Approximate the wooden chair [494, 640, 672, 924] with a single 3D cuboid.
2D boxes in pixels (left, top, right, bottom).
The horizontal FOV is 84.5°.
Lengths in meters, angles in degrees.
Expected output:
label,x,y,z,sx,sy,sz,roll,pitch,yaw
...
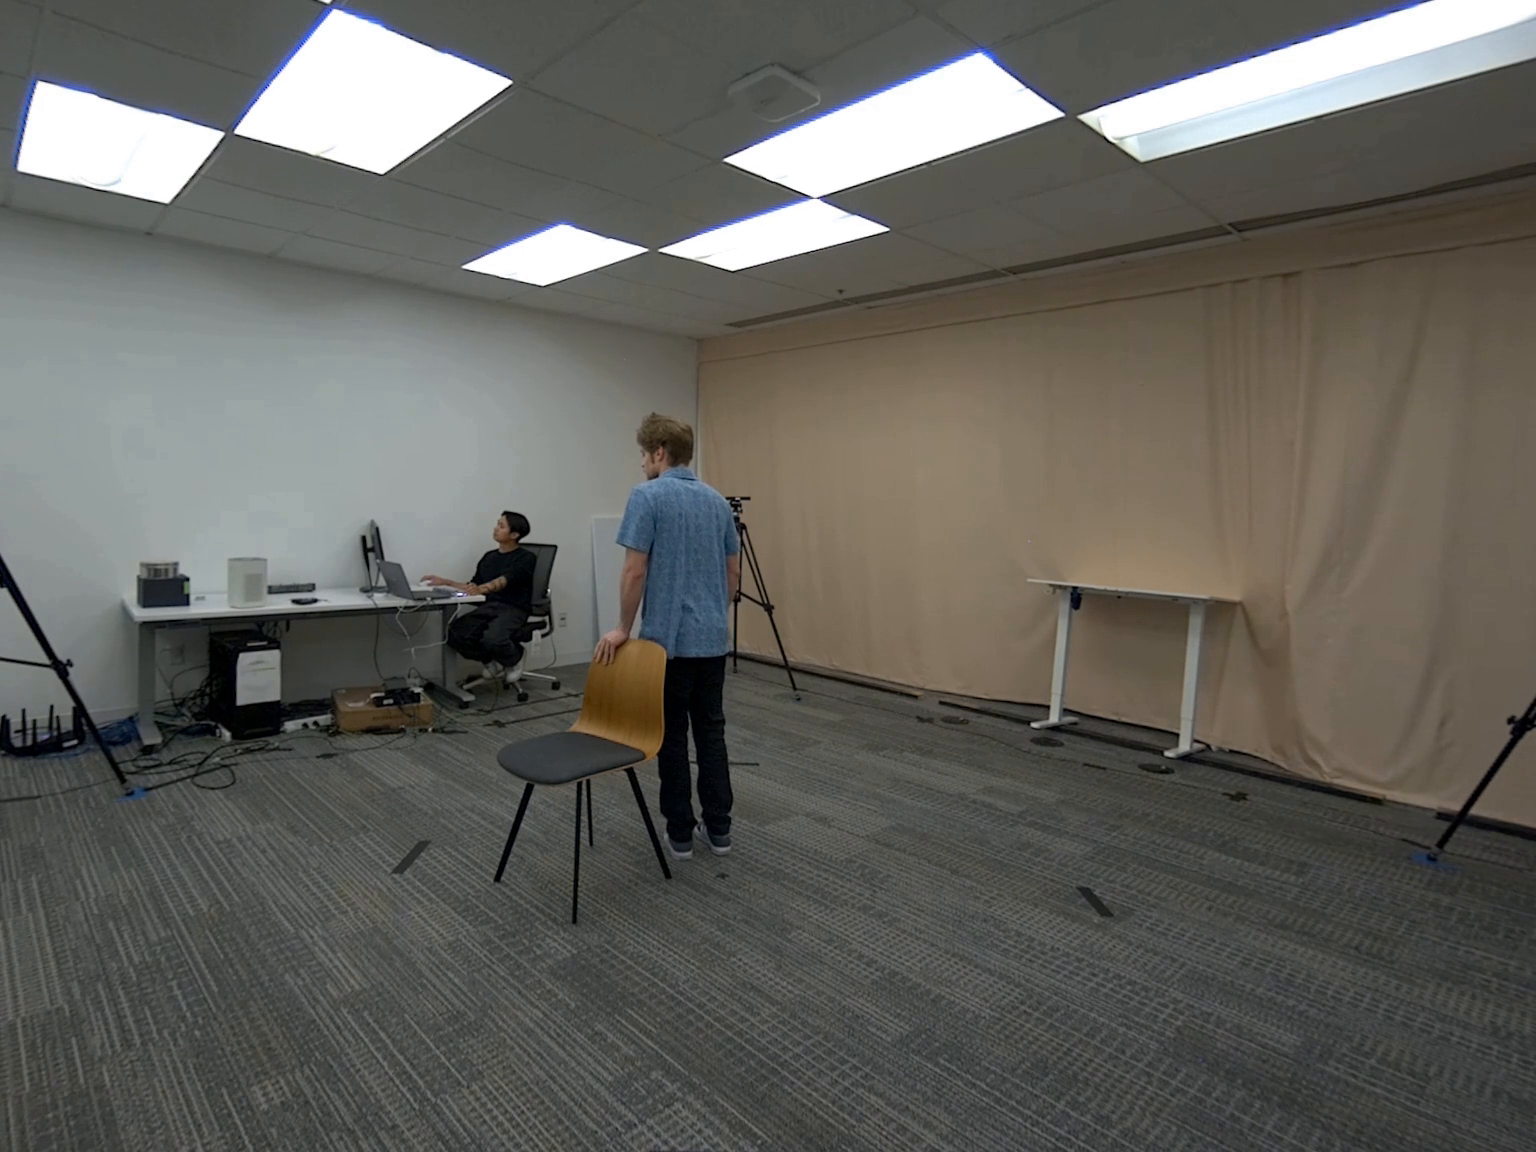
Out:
label,x,y,z,sx,sy,sz,roll,pitch,yaw
wooden chair,-0.663,0.677,3.002,0.490,0.877,0.510,4,0,39
